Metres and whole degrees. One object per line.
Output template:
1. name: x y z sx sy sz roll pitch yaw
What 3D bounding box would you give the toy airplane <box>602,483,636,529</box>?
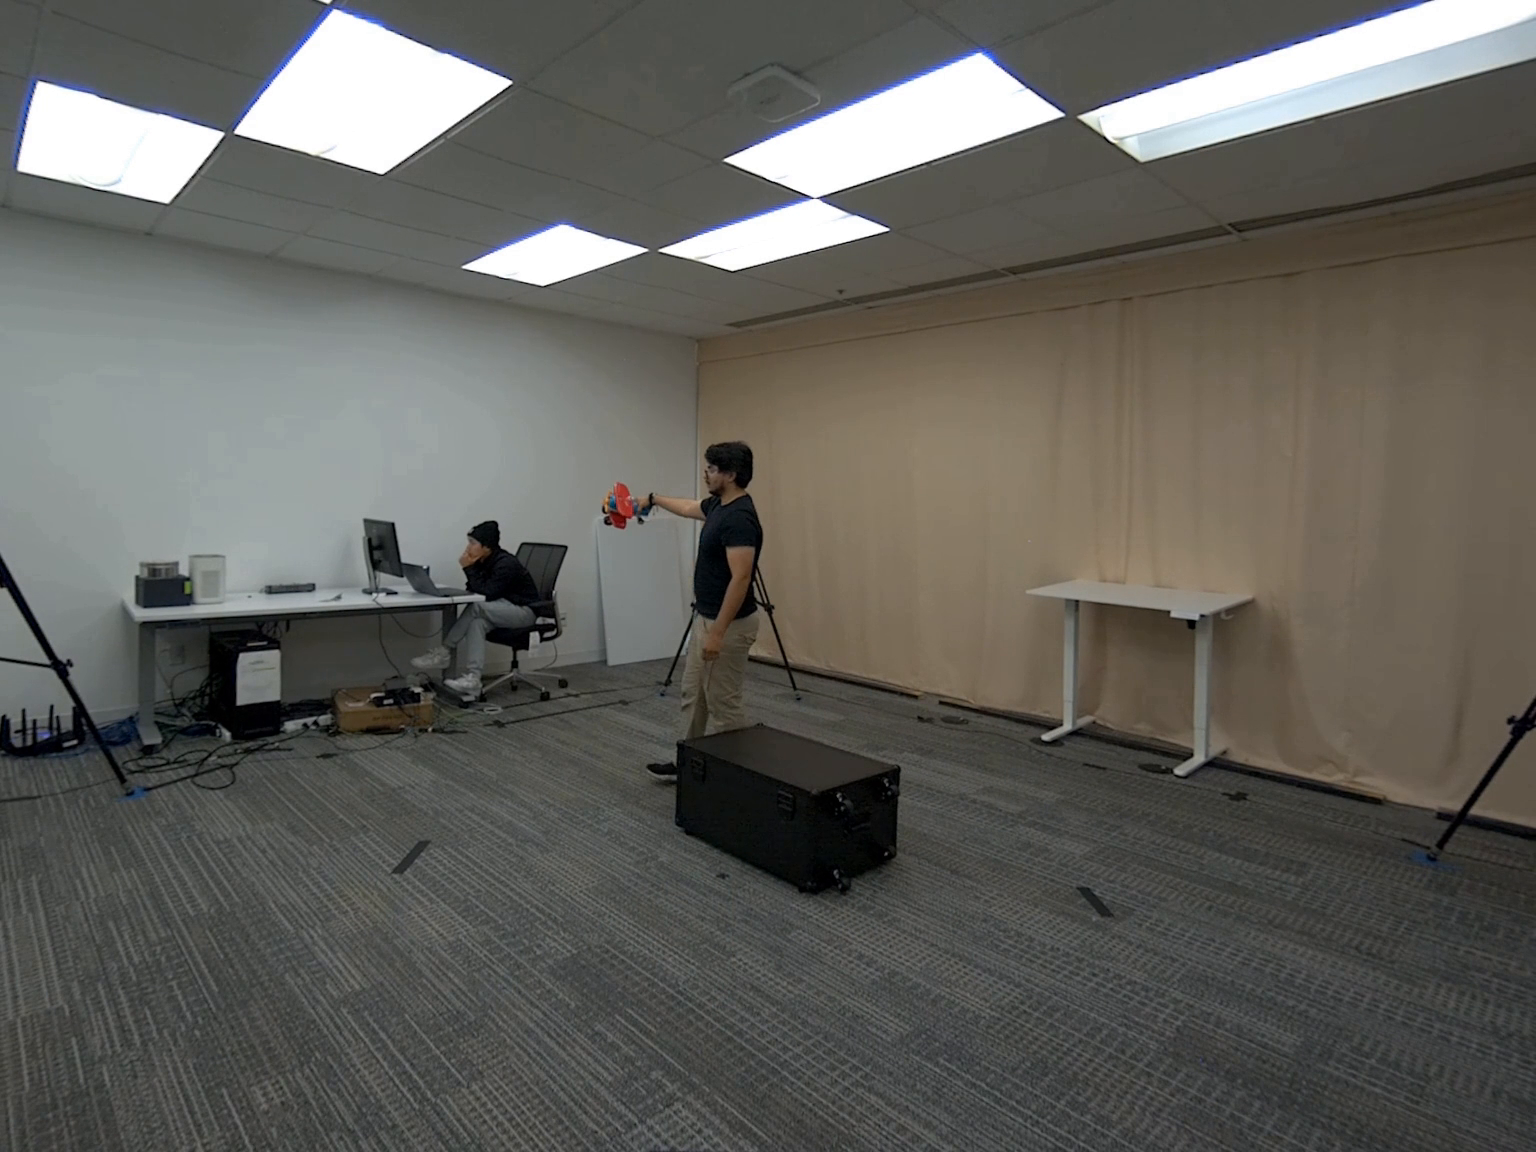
1. toy airplane: -0.742 -0.361 4.354 0.256 0.155 0.257 -24 61 -41
